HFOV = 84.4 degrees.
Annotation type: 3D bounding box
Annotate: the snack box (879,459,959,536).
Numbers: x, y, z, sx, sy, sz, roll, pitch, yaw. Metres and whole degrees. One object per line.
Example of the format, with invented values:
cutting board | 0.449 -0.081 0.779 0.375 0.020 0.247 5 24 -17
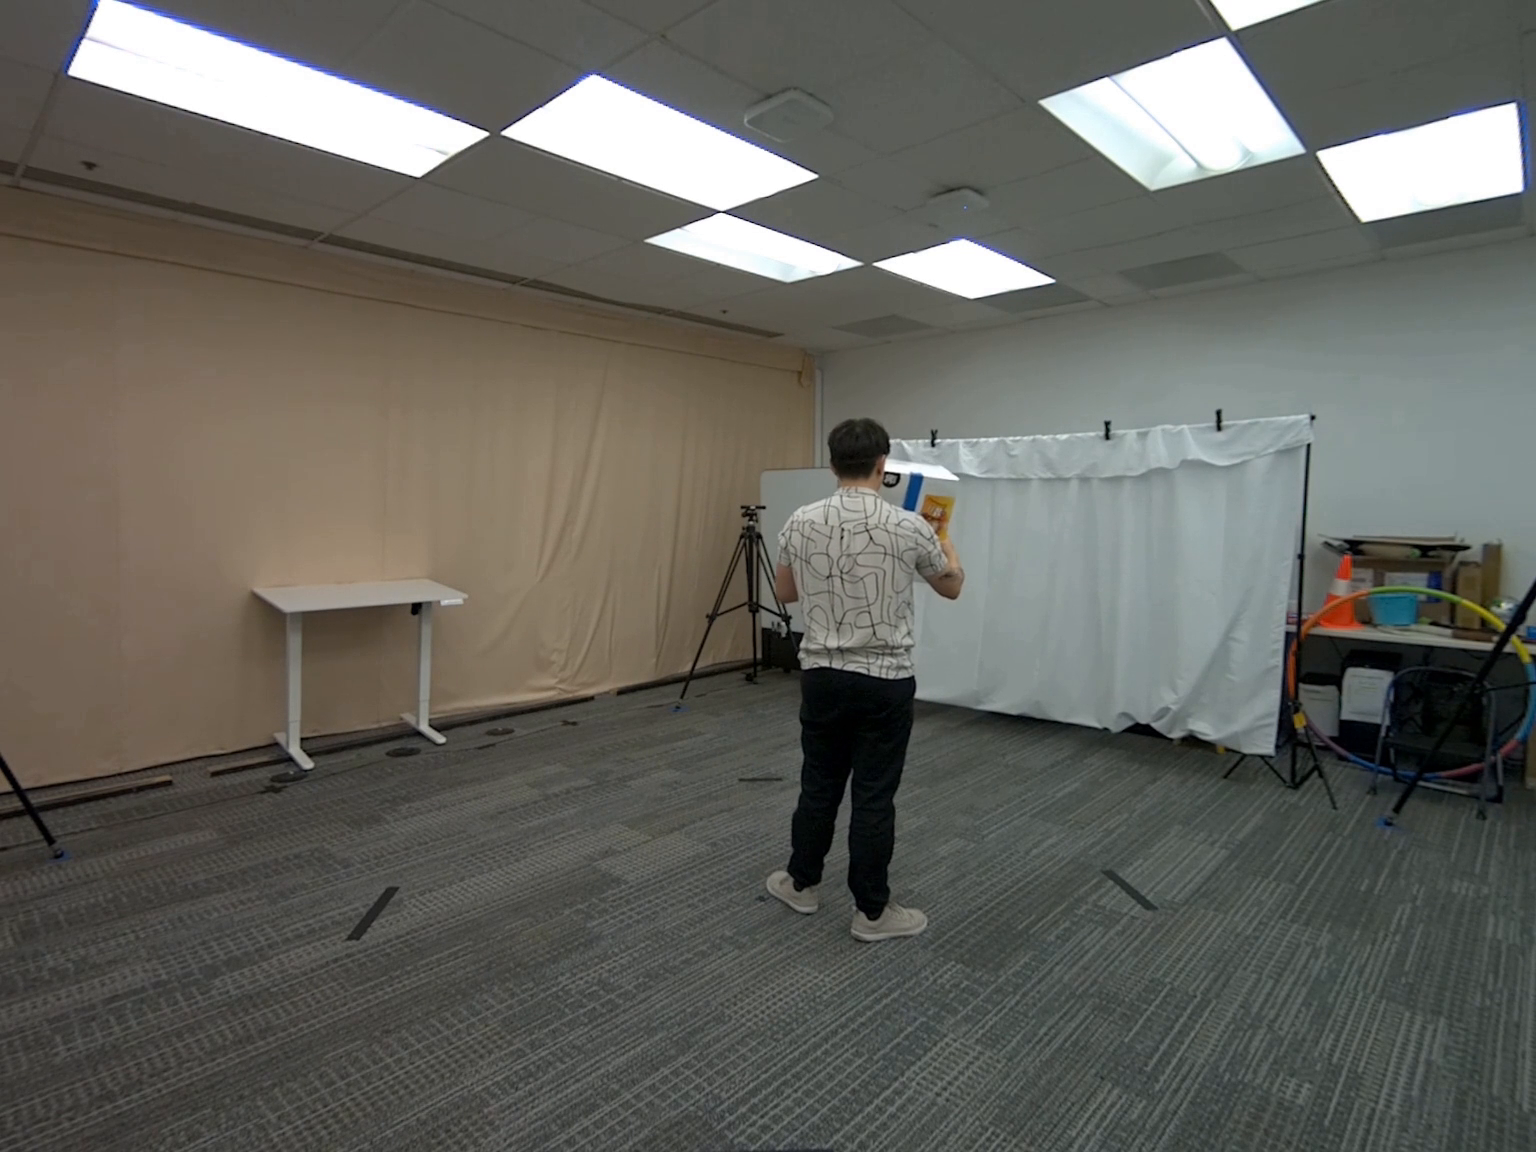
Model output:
snack box | 0.473 -0.212 3.109 0.336 0.402 0.210 6 19 -10
